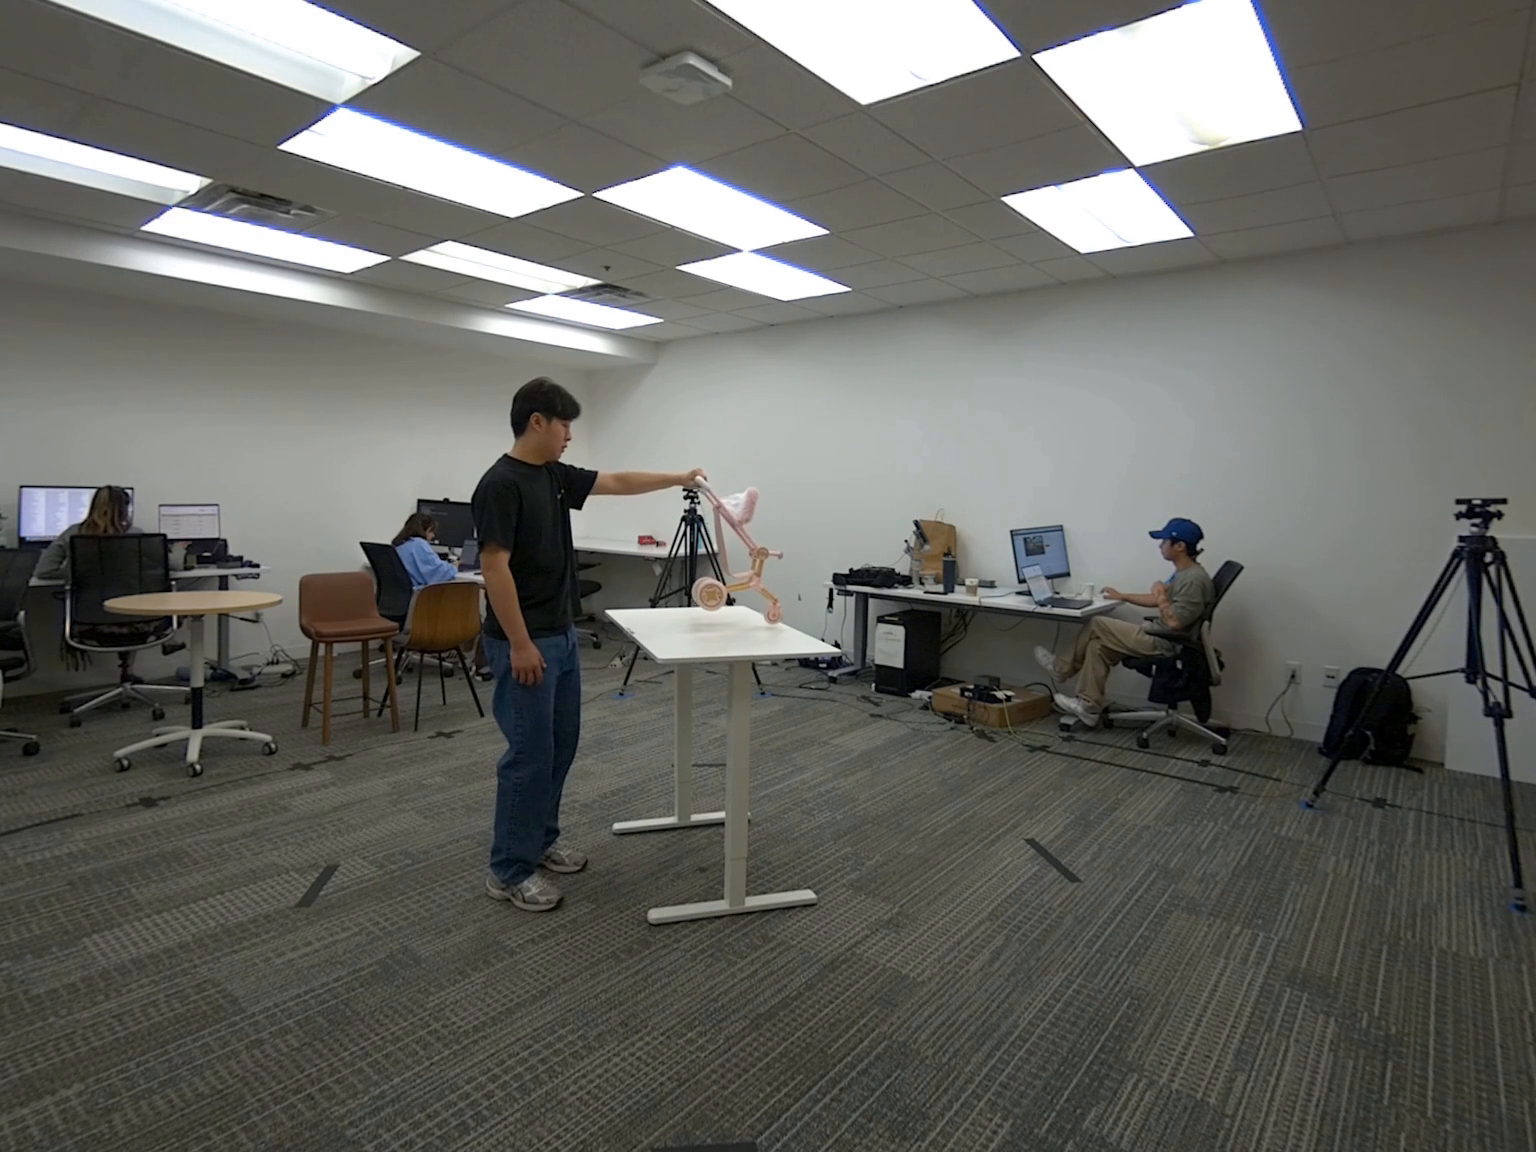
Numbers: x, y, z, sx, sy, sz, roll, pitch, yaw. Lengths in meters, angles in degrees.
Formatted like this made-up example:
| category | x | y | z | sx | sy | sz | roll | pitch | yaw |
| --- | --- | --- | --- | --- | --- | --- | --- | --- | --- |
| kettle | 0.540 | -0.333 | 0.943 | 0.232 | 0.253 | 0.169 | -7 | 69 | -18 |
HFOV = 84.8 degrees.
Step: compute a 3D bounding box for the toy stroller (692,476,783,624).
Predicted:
| category | x | y | z | sx | sy | sz | roll | pitch | yaw |
| --- | --- | --- | --- | --- | --- | --- | --- | --- | --- |
| toy stroller | -0.107 | -0.091 | 3.117 | 0.341 | 0.536 | 0.281 | 1 | -1 | -1 |
